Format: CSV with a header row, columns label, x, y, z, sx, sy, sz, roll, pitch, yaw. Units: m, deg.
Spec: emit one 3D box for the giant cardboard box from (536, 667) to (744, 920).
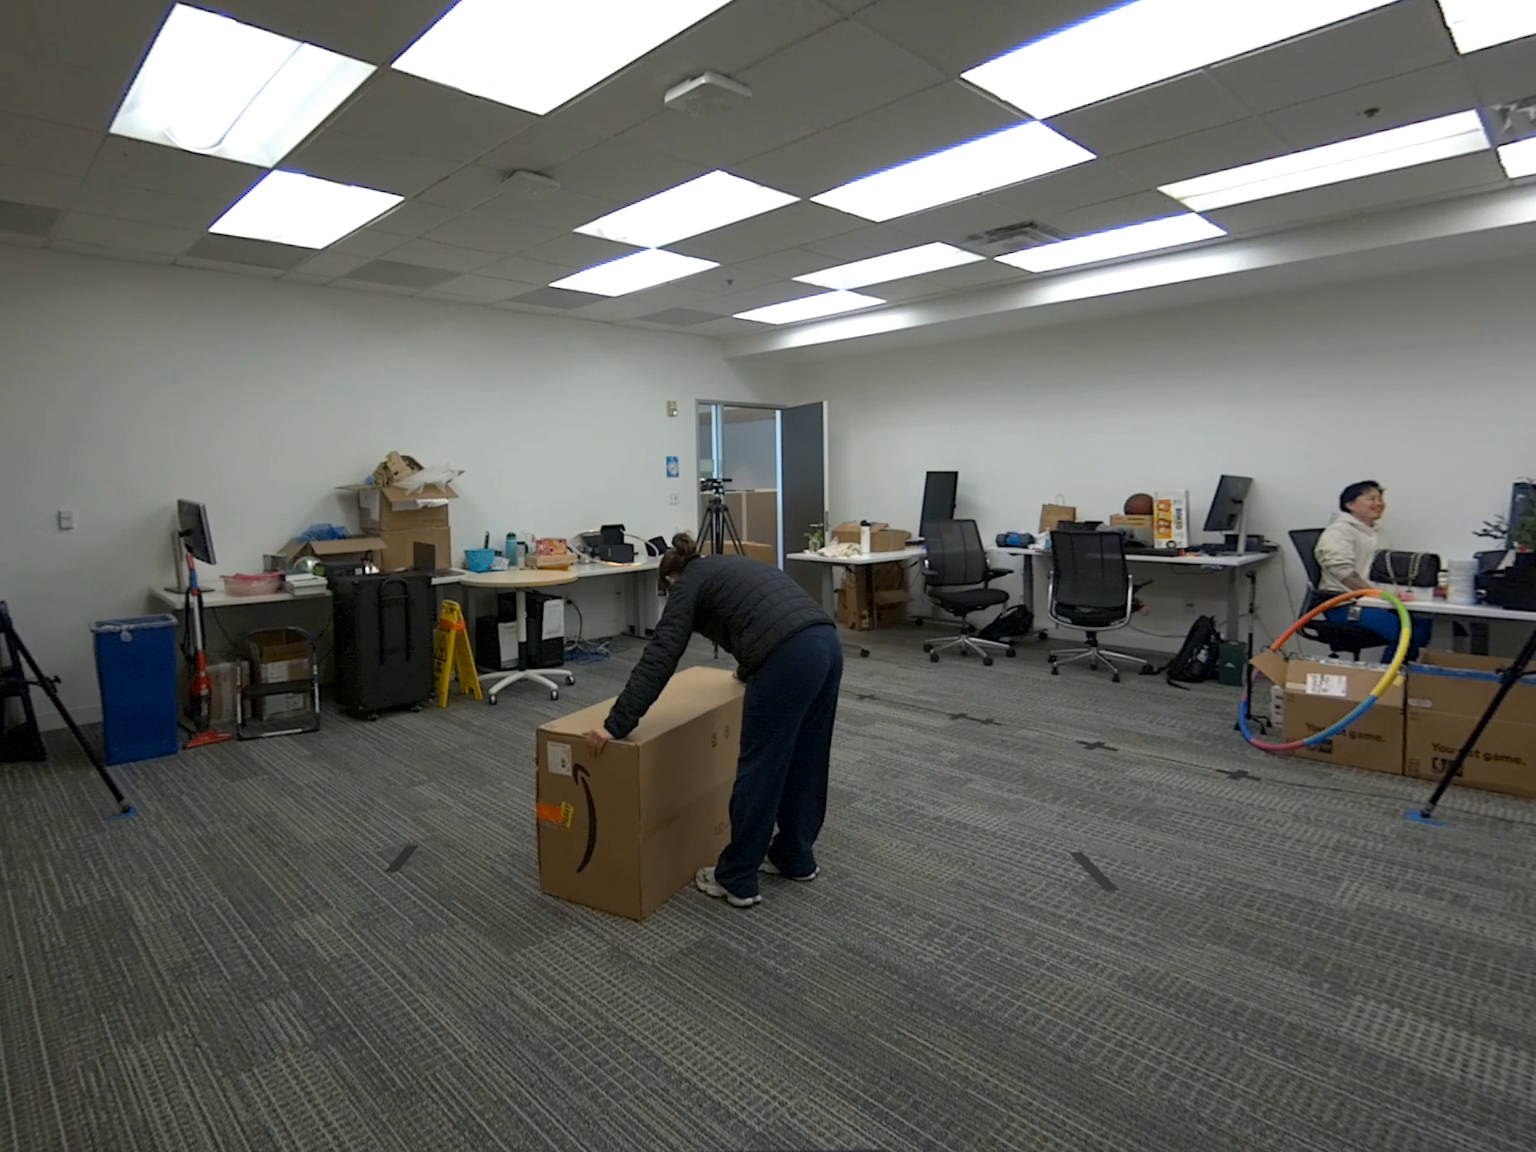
label,x,y,z,sx,sy,sz,roll,pitch,yaw
giant cardboard box,-0.371,0.748,3.242,0.458,0.581,1.006,3,7,27
